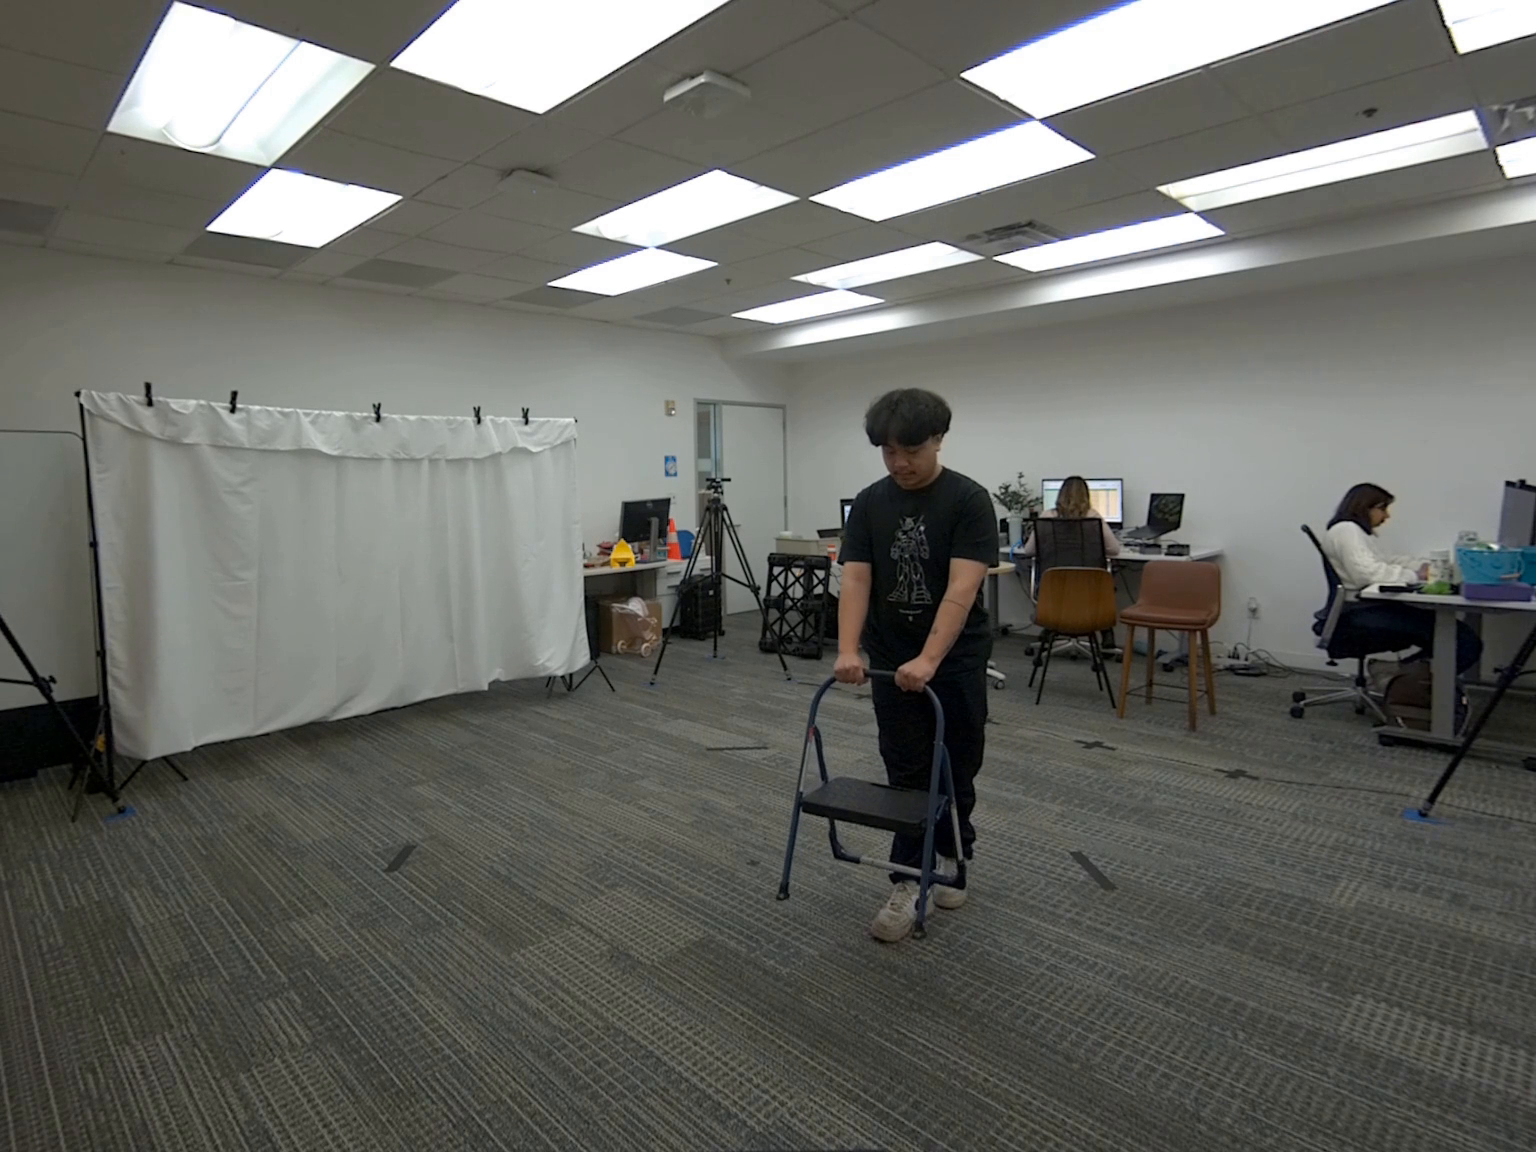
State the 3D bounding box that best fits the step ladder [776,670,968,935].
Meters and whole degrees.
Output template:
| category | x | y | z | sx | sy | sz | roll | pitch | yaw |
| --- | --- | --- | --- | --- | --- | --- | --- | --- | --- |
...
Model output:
| category | x | y | z | sx | sy | sz | roll | pitch | yaw |
| --- | --- | --- | --- | --- | --- | --- | --- | --- | --- |
| step ladder | 0.288 | 0.583 | 2.356 | 0.442 | 0.605 | 0.340 | 0 | 3 | 34 |
